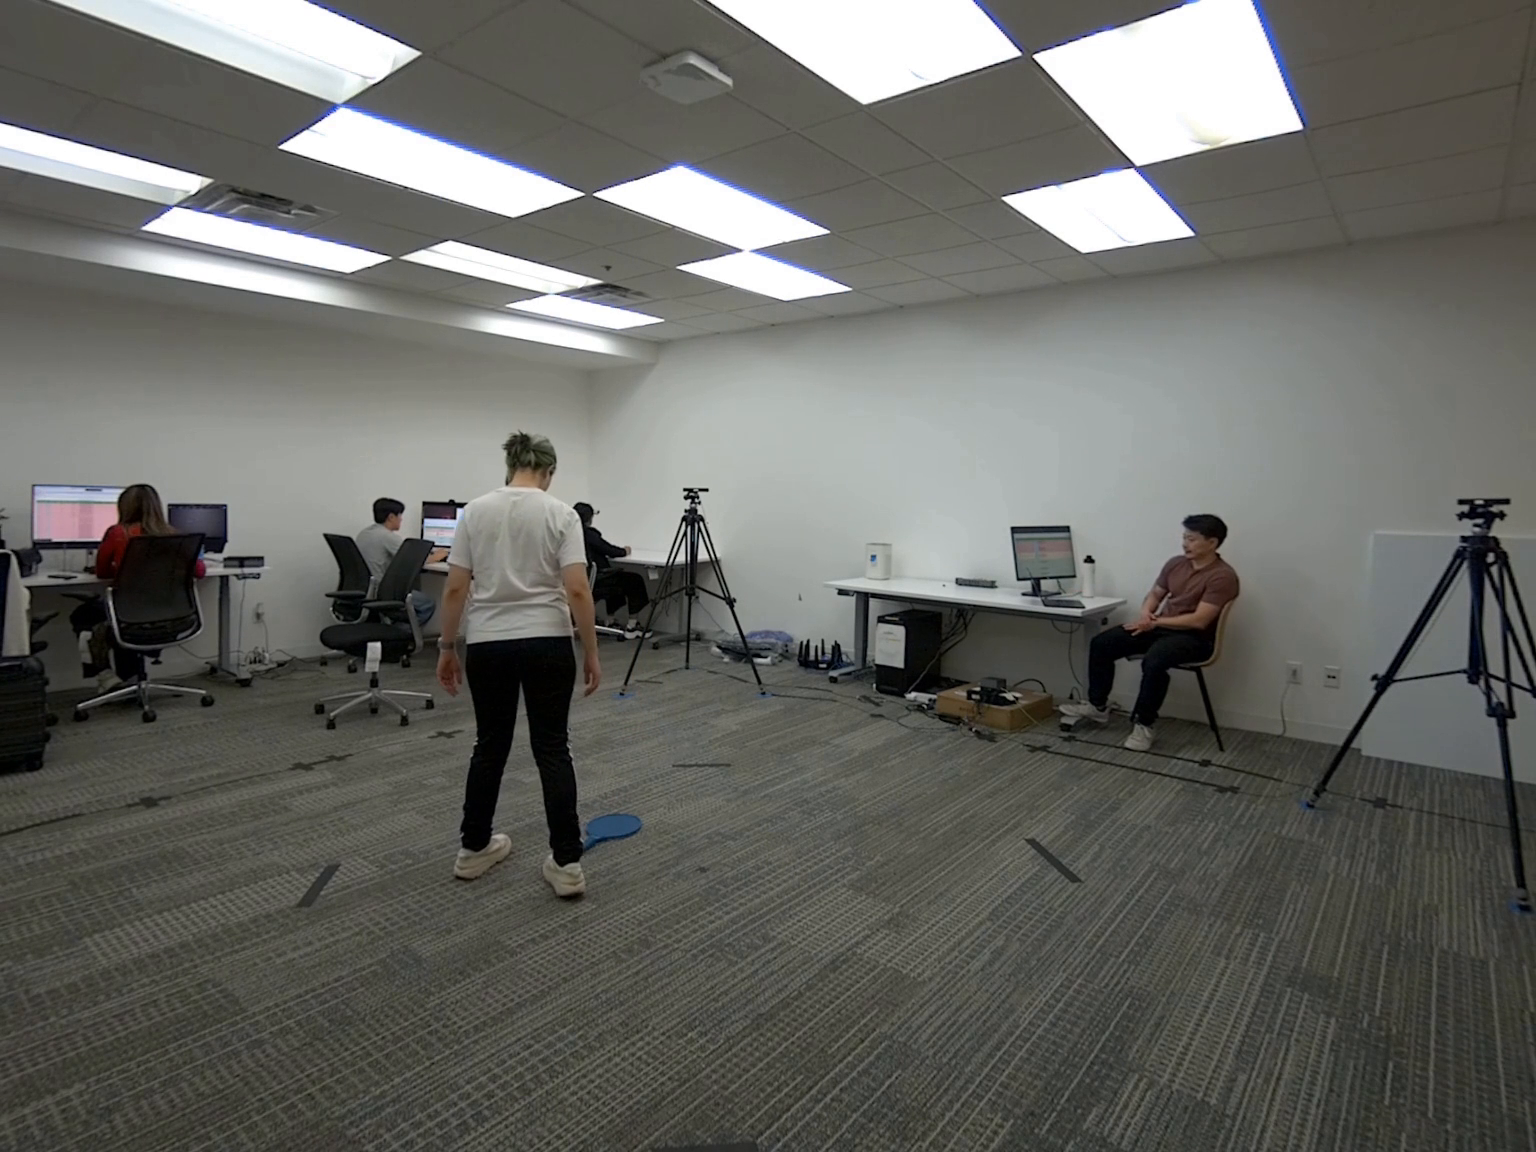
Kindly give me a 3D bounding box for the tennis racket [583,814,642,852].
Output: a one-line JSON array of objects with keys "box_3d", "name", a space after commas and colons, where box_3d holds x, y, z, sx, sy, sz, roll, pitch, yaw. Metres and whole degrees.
[{"box_3d": [-0.667, 1.022, 3.398, 0.219, 0.032, 0.424, 2, 4, 21], "name": "tennis racket"}]
